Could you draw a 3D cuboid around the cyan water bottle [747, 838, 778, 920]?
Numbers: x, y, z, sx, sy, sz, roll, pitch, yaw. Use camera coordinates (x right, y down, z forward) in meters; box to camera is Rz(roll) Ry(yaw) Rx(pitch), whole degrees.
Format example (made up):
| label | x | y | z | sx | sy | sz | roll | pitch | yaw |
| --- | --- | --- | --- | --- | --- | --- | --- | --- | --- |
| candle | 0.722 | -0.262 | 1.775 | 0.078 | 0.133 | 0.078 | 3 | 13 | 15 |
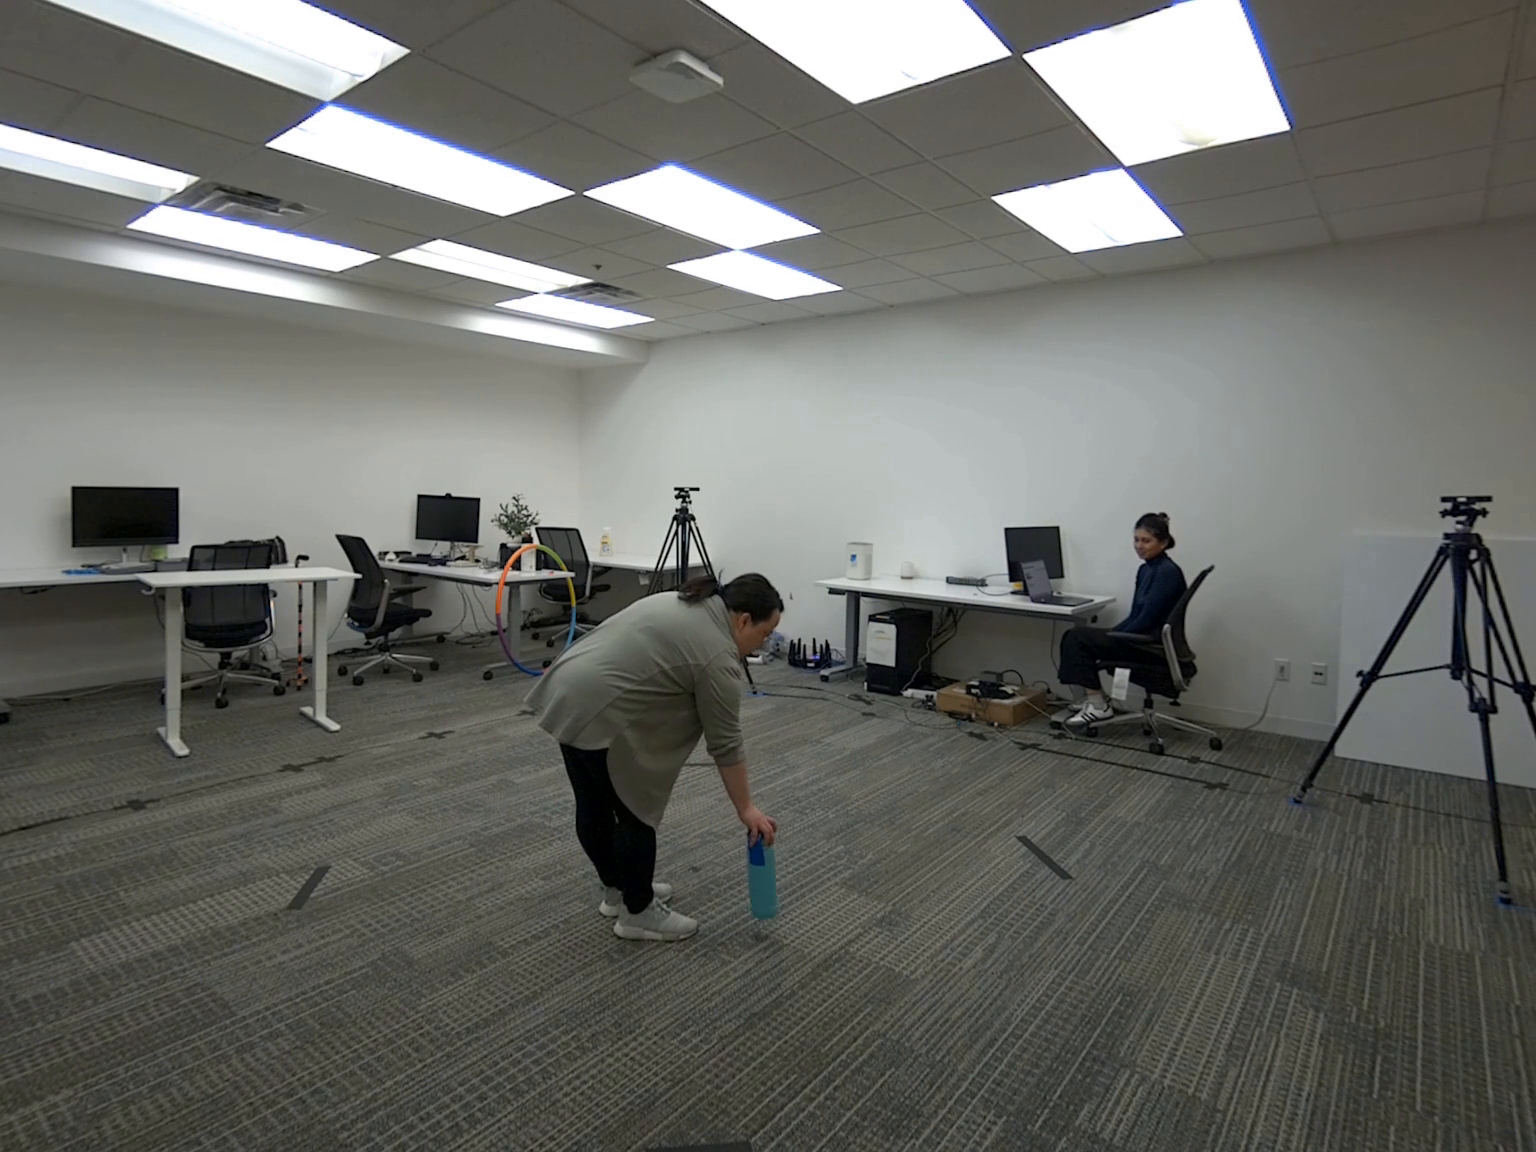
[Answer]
| label | x | y | z | sx | sy | sz | roll | pitch | yaw |
| --- | --- | --- | --- | --- | --- | --- | --- | --- | --- |
| cyan water bottle | -0.031 | 0.908 | 2.624 | 0.092 | 0.281 | 0.093 | -1 | 6 | -2 |
